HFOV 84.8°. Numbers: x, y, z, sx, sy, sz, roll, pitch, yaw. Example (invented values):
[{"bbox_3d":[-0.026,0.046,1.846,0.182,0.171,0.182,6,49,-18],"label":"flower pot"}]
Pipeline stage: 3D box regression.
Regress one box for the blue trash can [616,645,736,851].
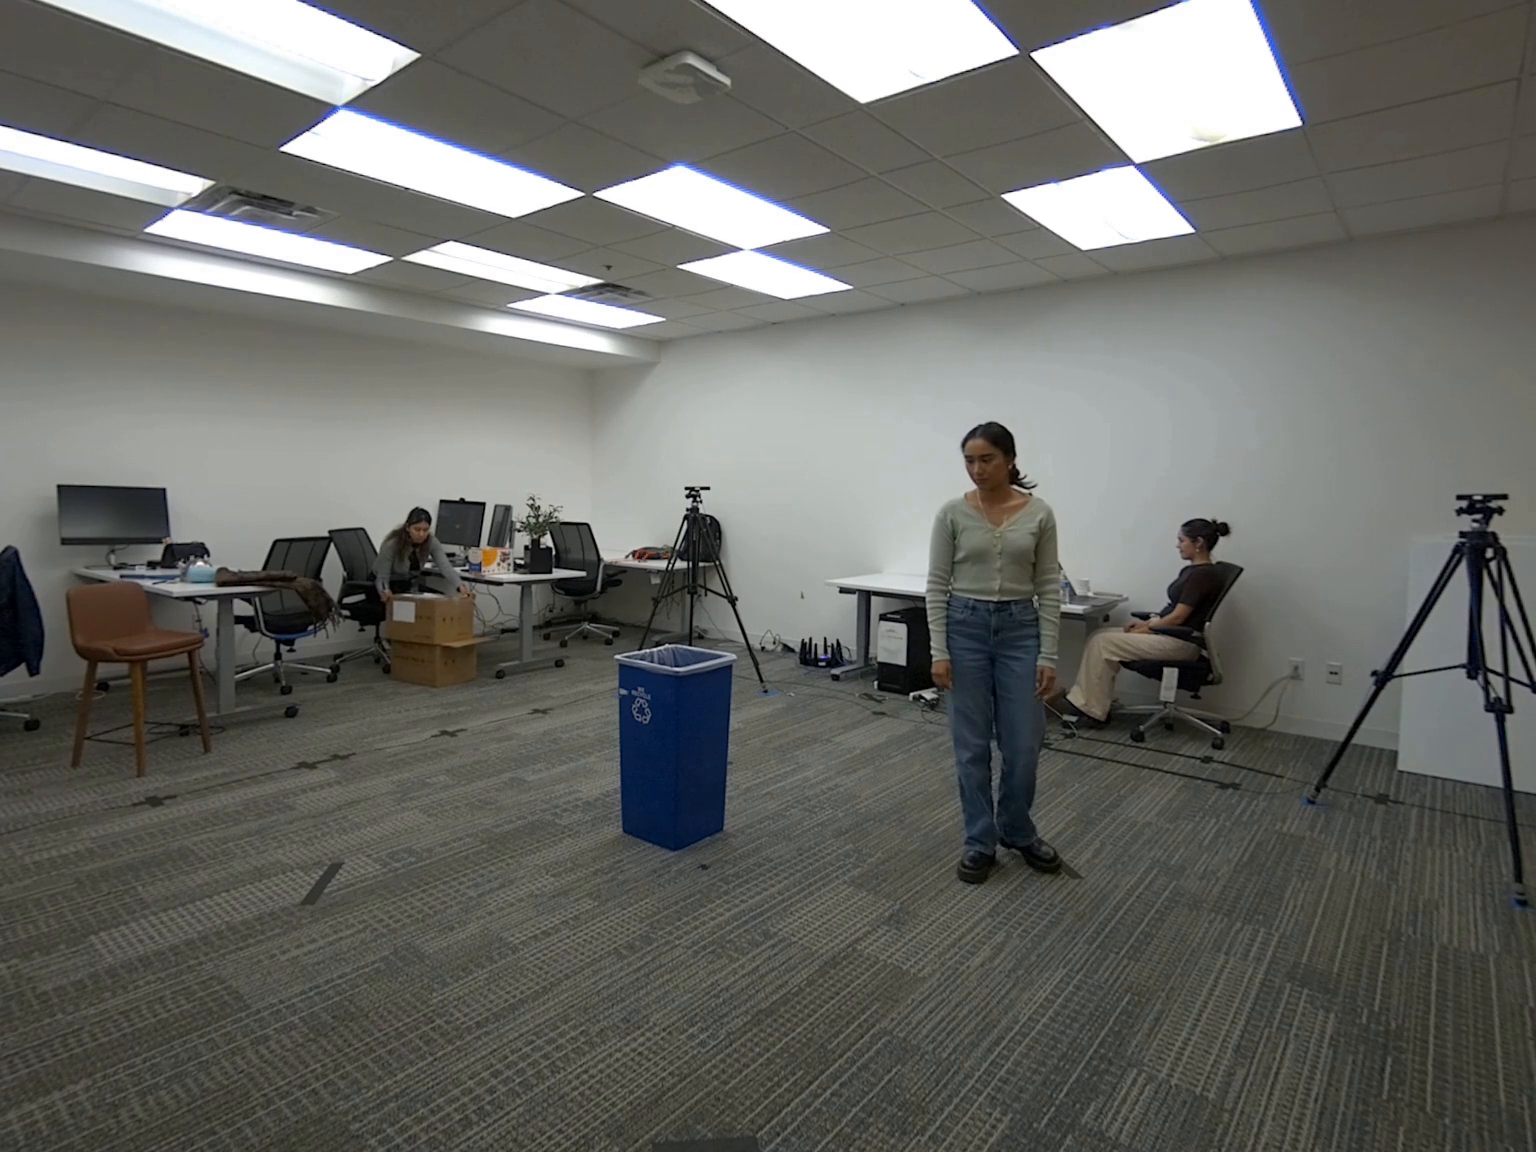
[{"bbox_3d":[-0.382,0.673,3.430,0.386,0.711,0.367,3,4,38],"label":"blue trash can"}]
